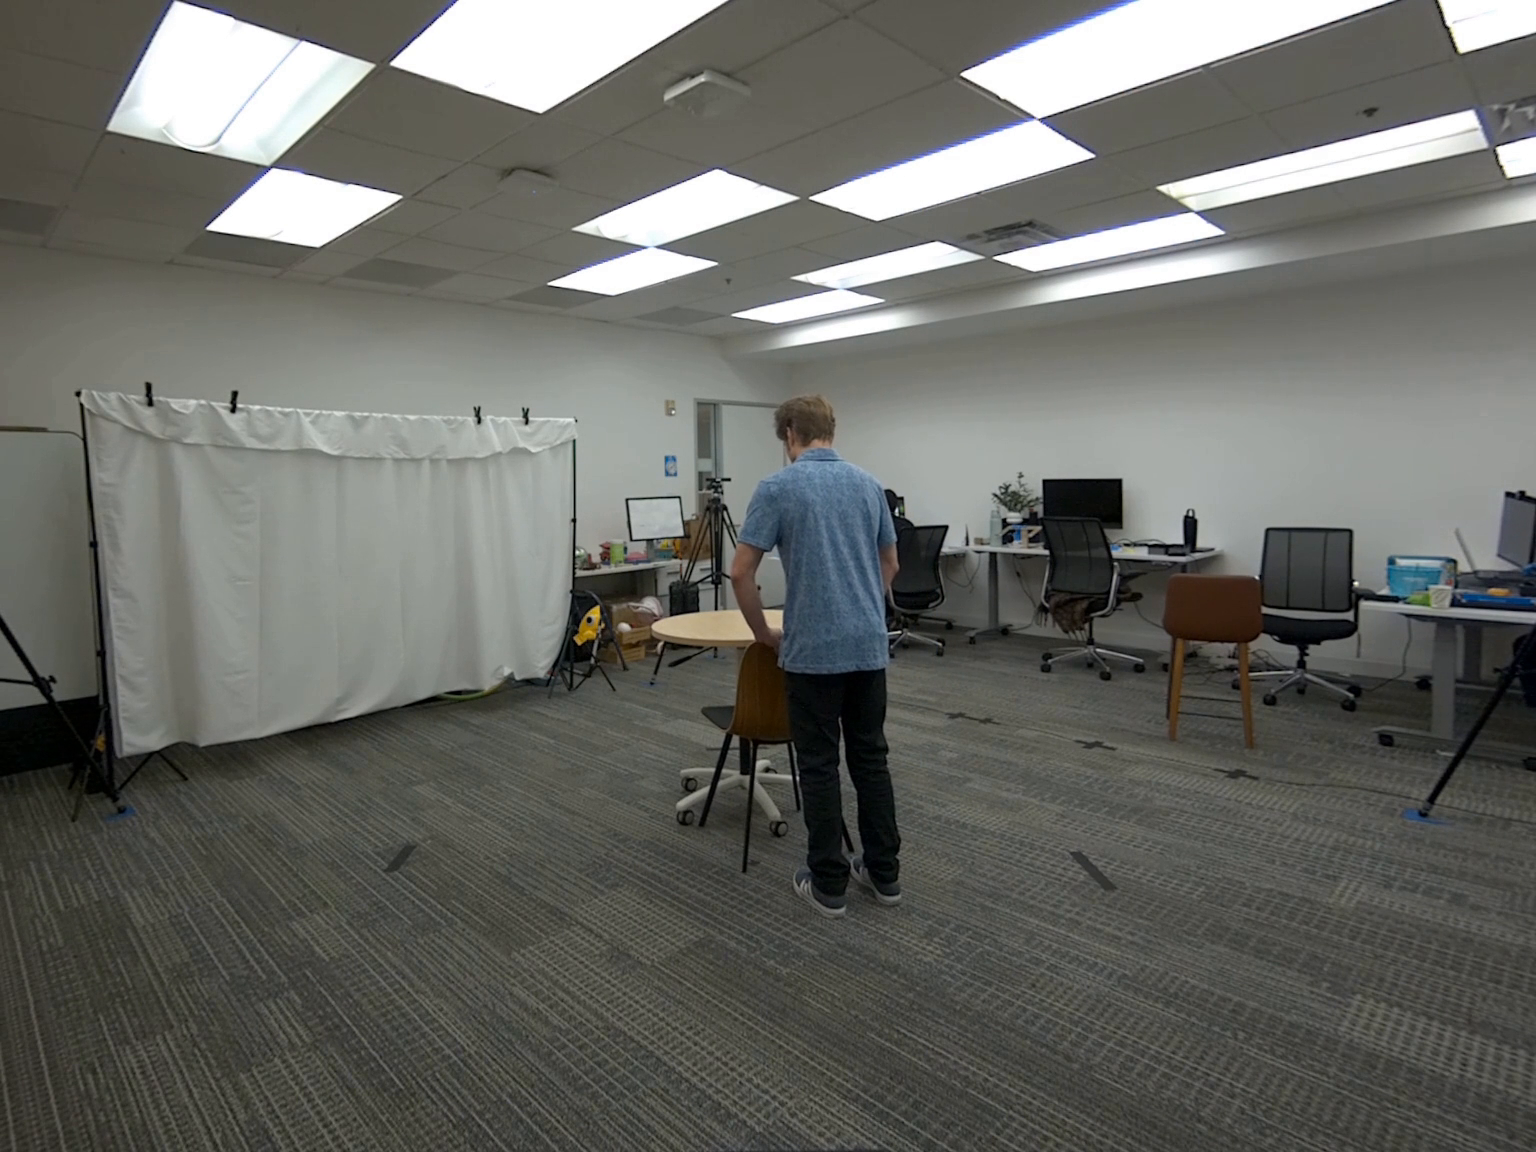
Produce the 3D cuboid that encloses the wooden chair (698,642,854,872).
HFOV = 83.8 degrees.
[{"bbox_3d":[0.015,0.589,3.286,0.469,0.872,0.537,-3,8,-23],"label":"wooden chair"}]
